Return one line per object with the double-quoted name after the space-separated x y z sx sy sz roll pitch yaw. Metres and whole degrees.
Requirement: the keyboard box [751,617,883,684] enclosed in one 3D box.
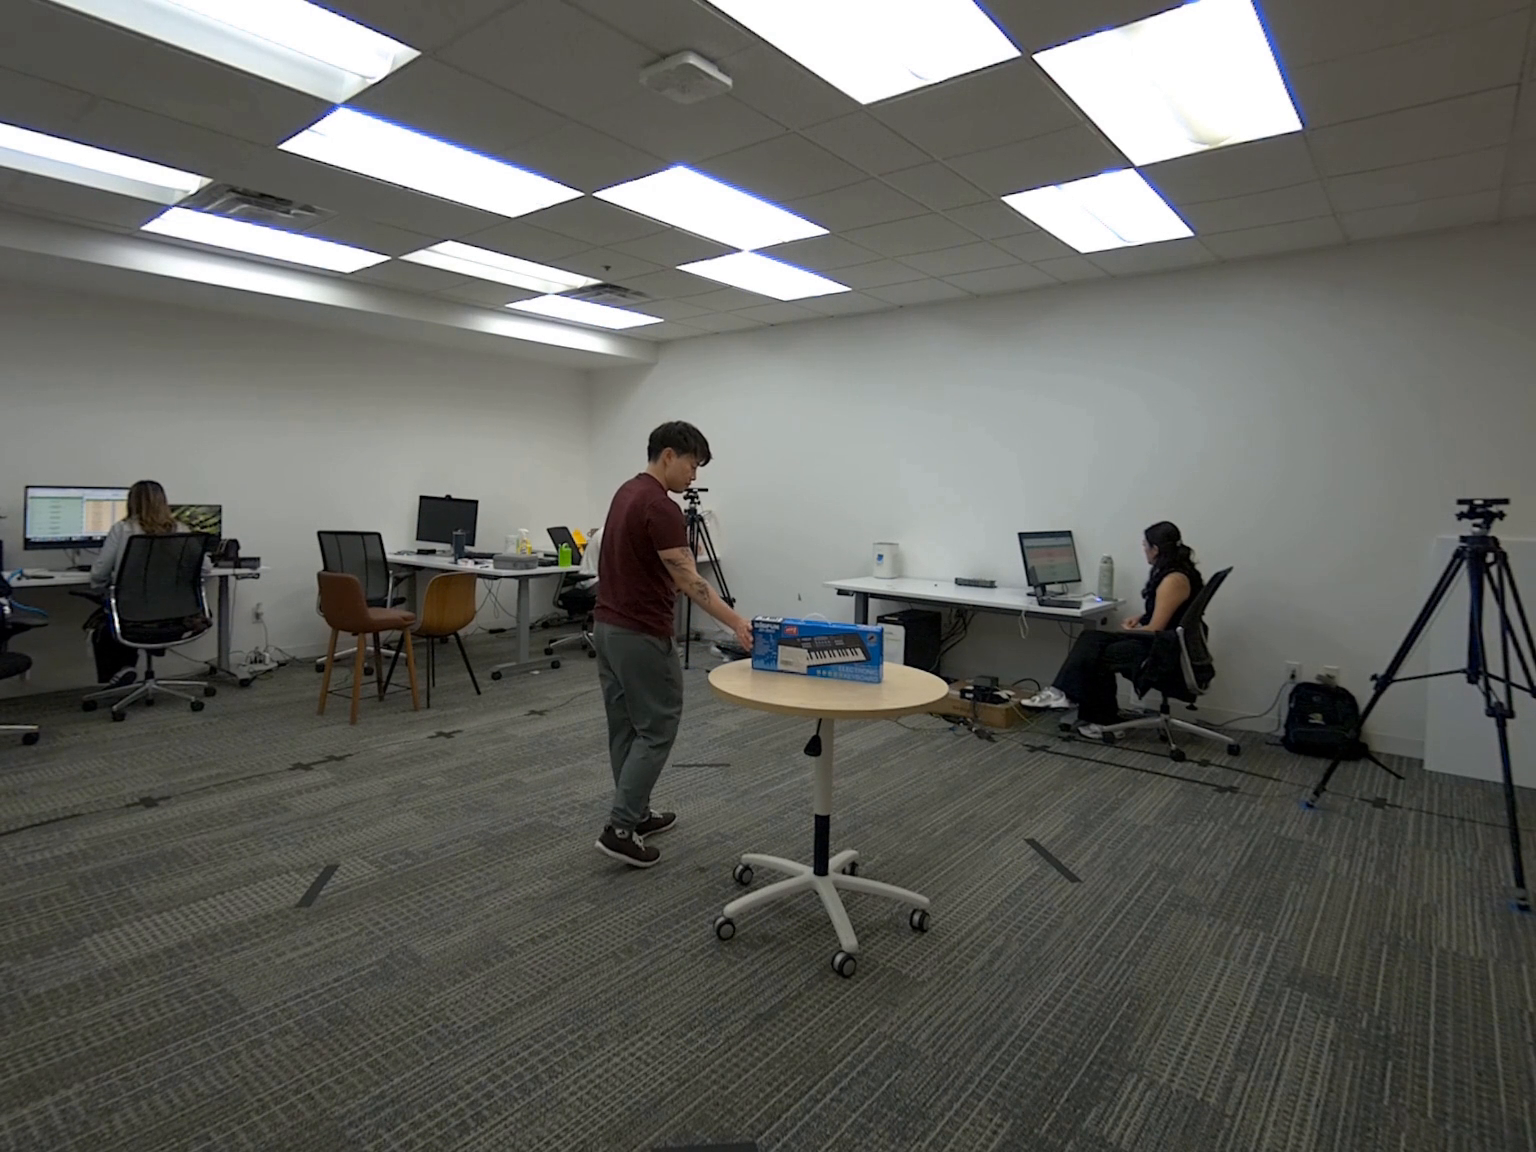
0.152 0.239 2.797 0.447 0.174 0.058 3 10 22 "keyboard box"
